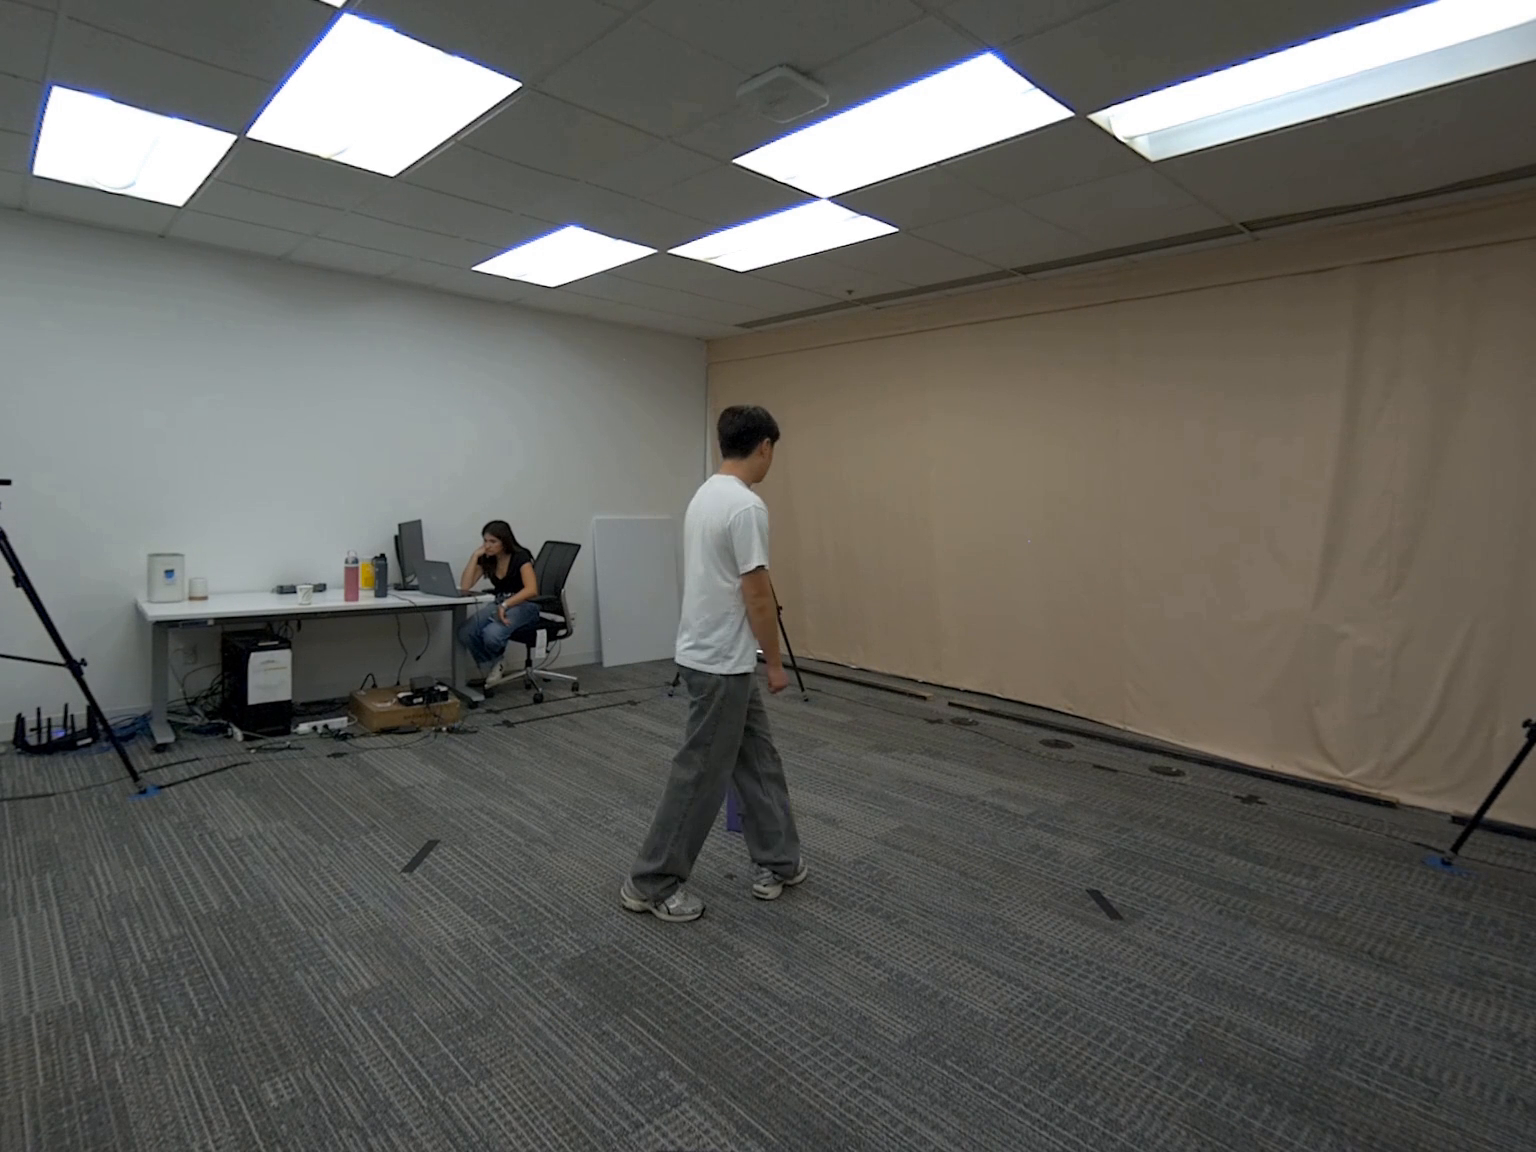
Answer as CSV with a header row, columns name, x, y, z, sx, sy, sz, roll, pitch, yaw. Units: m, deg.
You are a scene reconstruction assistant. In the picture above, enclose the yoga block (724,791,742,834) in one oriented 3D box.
name,x,y,z,sx,sy,sz,roll,pitch,yaw
yoga block,-0.103,0.960,3.537,0.151,0.229,0.075,2,1,17
